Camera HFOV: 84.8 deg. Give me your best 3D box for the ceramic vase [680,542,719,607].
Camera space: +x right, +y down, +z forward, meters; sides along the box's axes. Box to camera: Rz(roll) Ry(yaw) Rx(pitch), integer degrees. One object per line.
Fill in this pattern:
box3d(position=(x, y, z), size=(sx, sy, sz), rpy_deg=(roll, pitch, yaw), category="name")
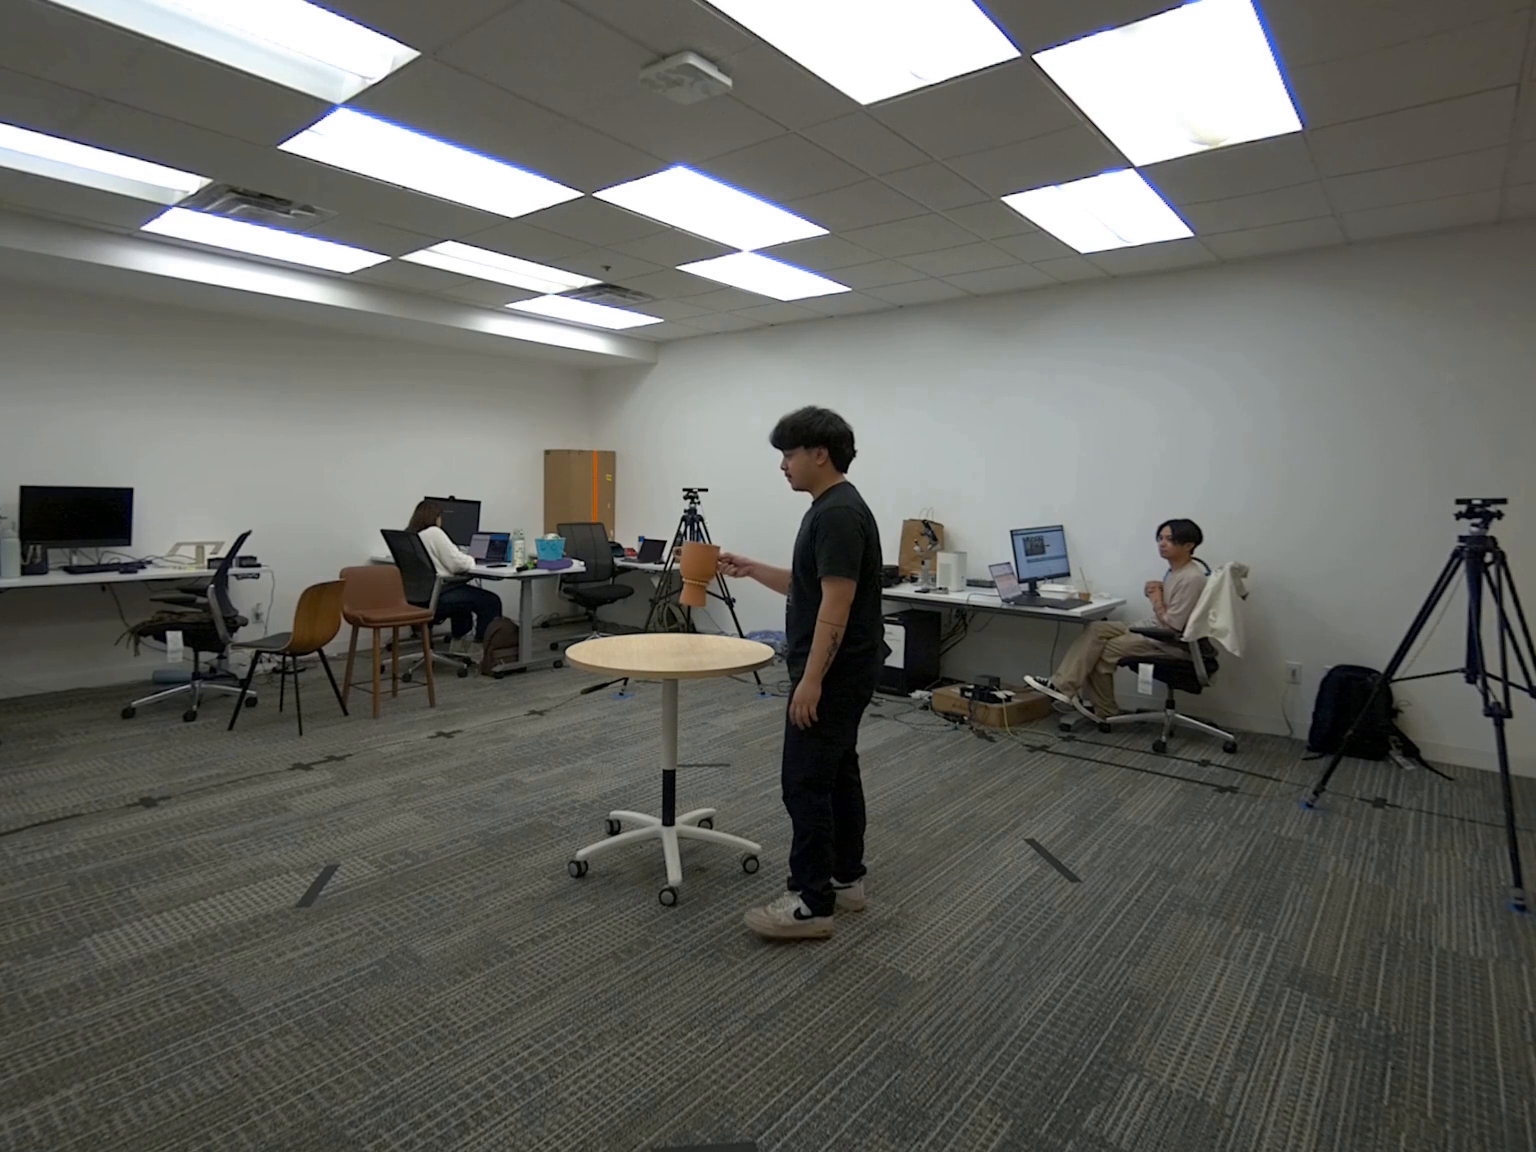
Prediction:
box3d(position=(-0.257, -0.010, 3.009), size=(0.164, 0.219, 0.130), rpy_deg=(8, 2, 39), category="ceramic vase")
